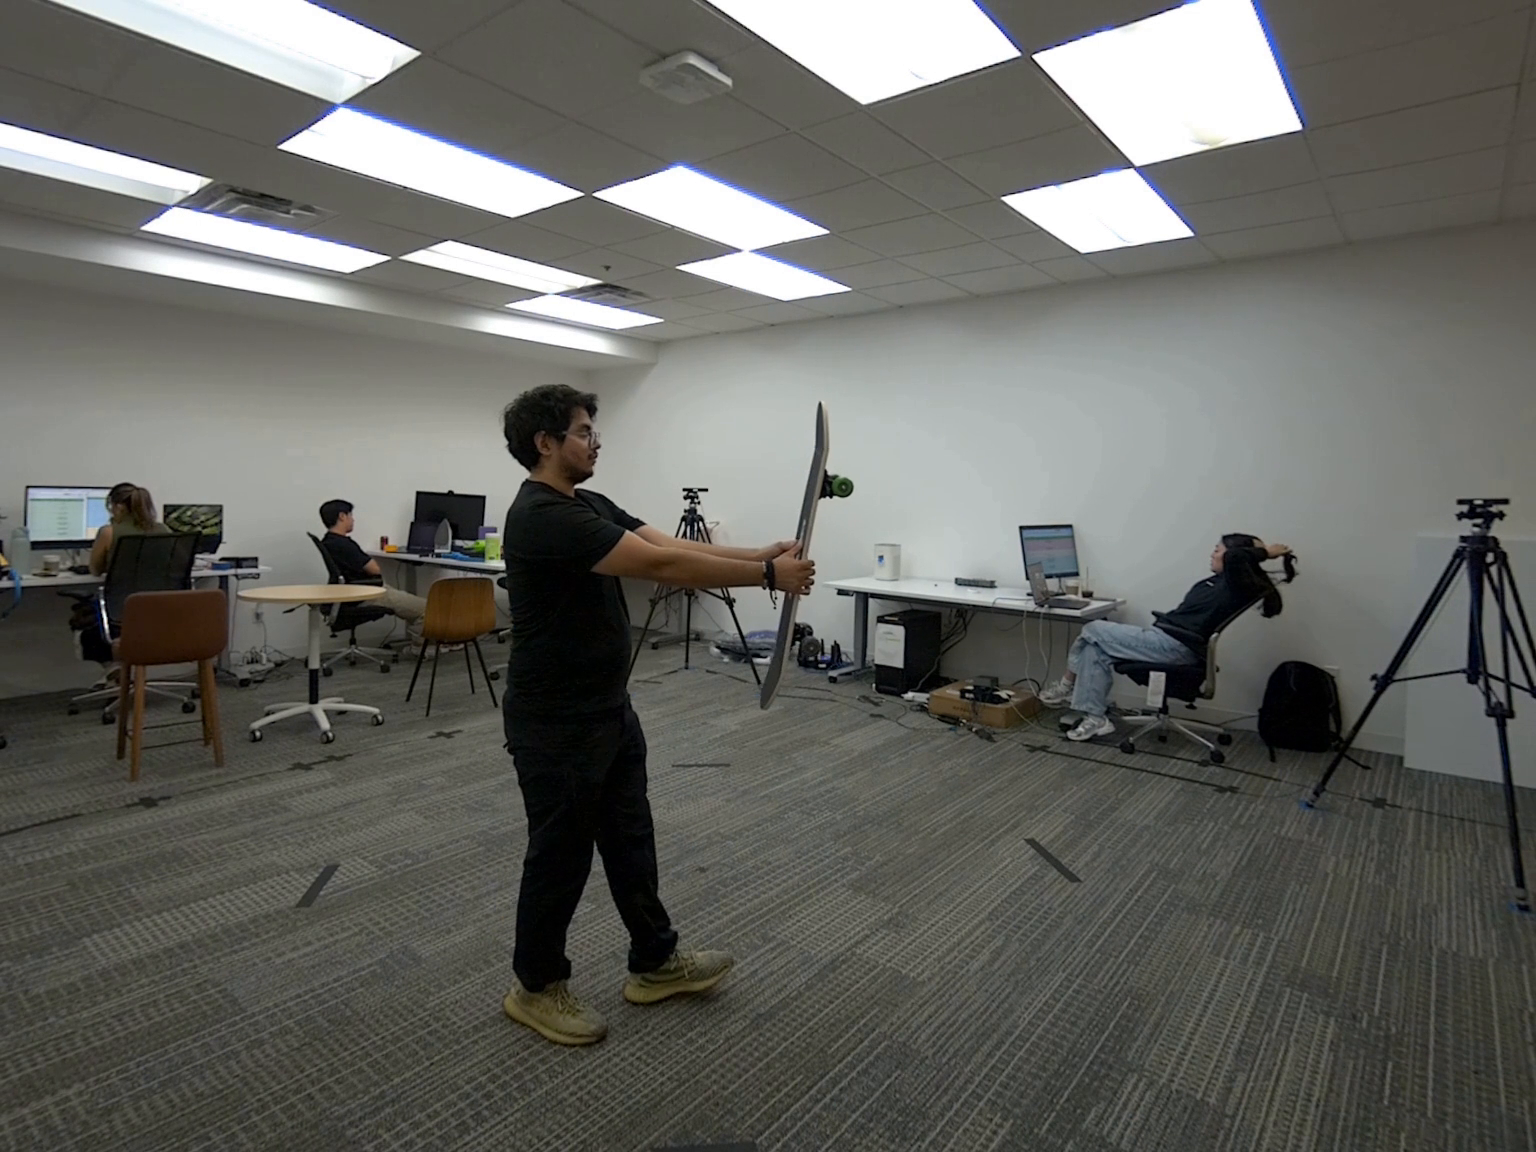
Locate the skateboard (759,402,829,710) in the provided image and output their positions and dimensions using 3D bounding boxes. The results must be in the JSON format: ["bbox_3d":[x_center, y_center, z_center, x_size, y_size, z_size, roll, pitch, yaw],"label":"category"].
[{"bbox_3d":[0.102,-0.034,2.134,0.110,0.781,0.195,11,7,-4],"label":"skateboard"}]
